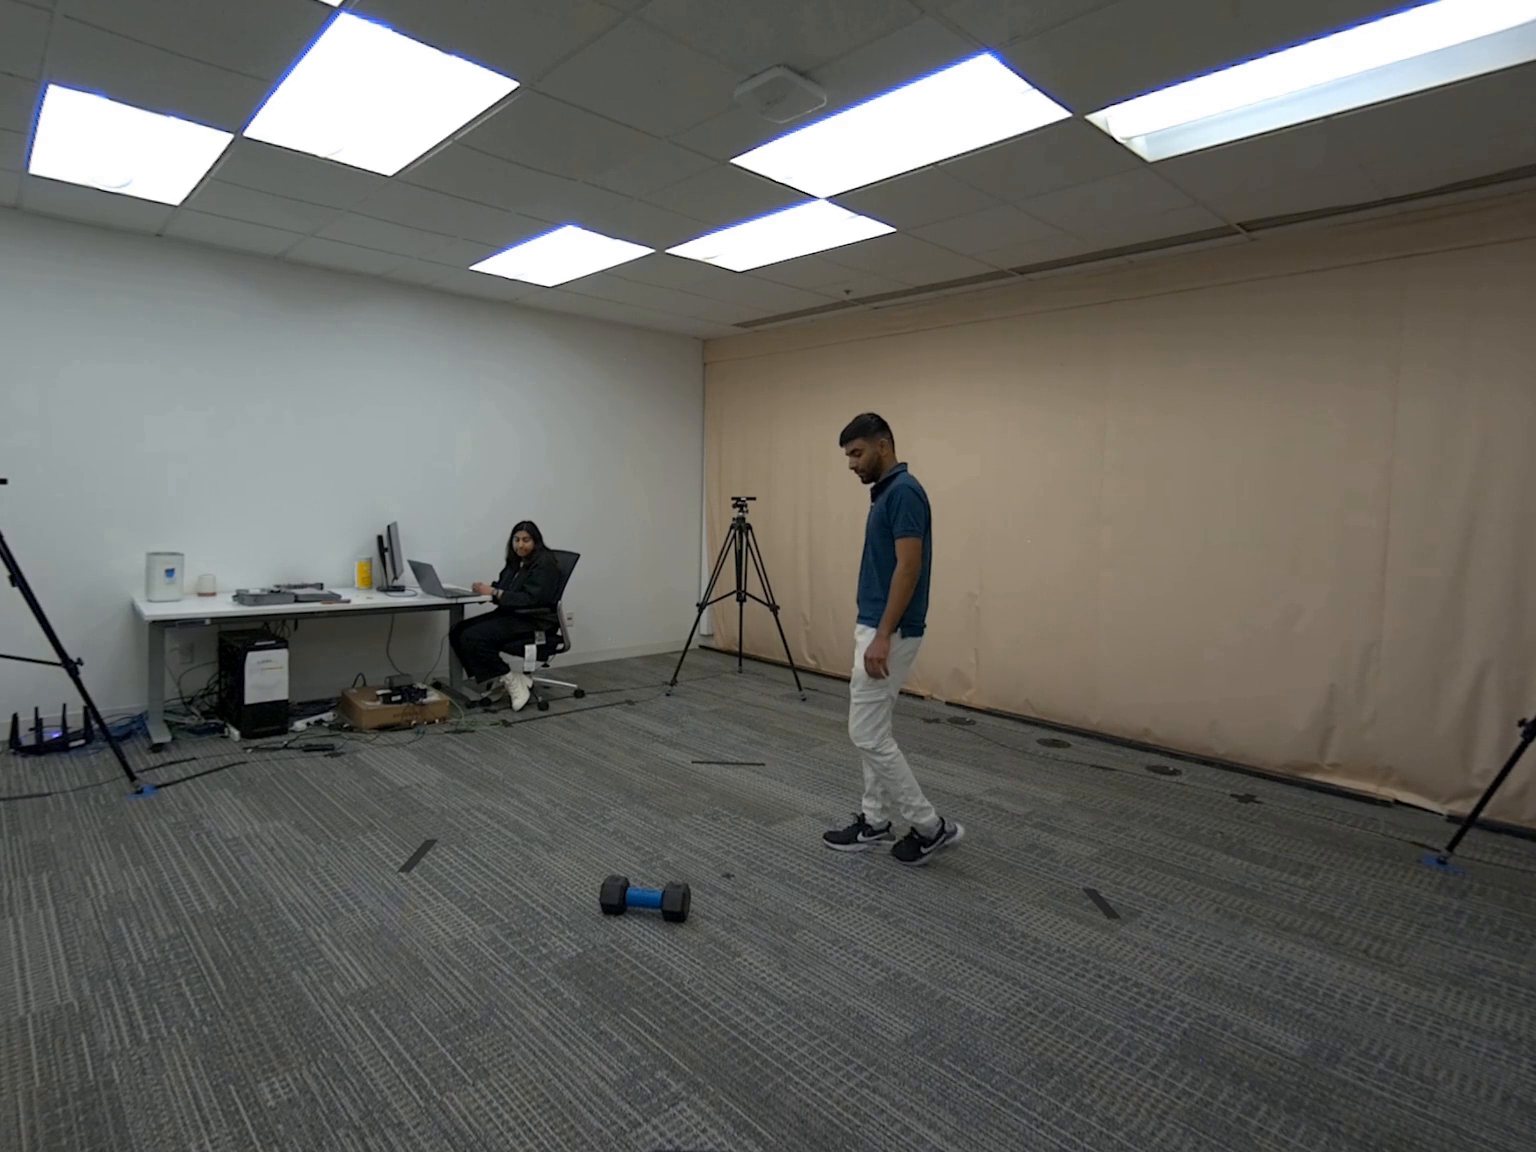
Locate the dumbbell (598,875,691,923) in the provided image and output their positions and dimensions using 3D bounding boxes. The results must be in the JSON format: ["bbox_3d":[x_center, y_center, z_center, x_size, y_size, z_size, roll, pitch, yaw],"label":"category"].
[{"bbox_3d":[-0.419,1.077,2.801,0.296,0.125,0.106,2,-25,10],"label":"dumbbell"}]
